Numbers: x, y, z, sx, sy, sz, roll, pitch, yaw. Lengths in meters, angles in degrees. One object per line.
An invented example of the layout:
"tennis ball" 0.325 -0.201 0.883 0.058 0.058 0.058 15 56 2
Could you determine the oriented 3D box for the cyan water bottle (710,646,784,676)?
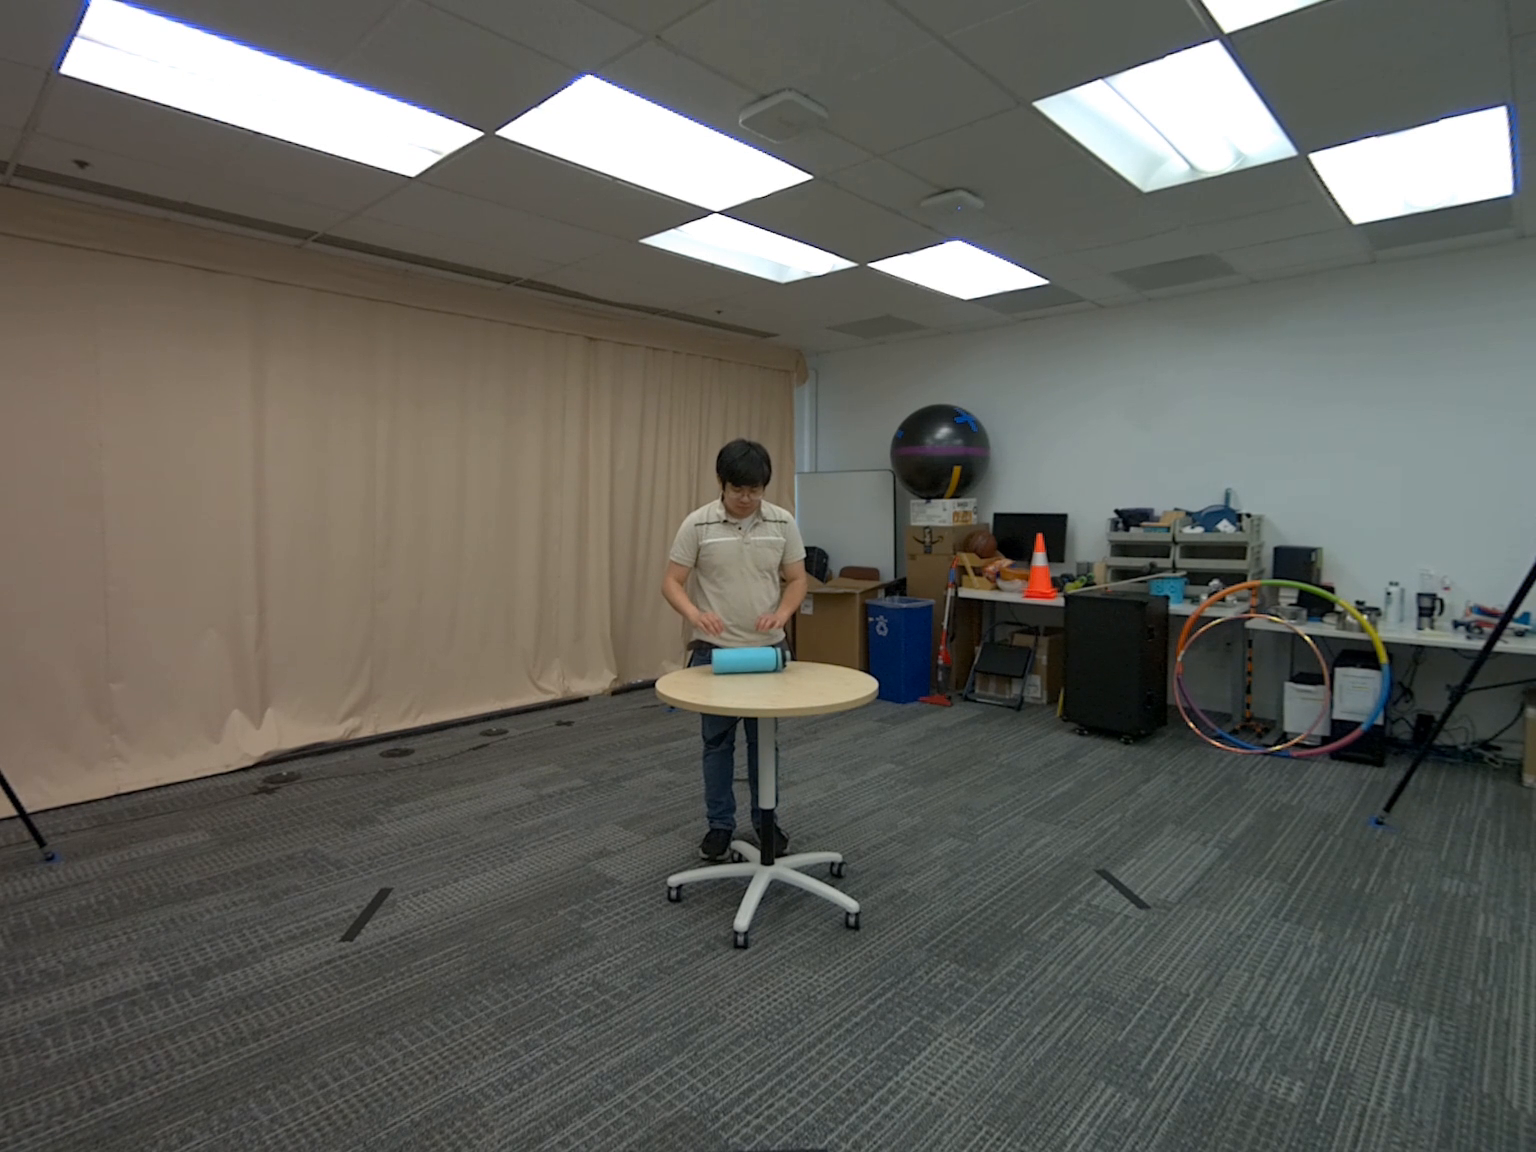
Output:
"cyan water bottle" -0.065 0.305 3.074 0.282 0.092 0.093 -2 4 -4
